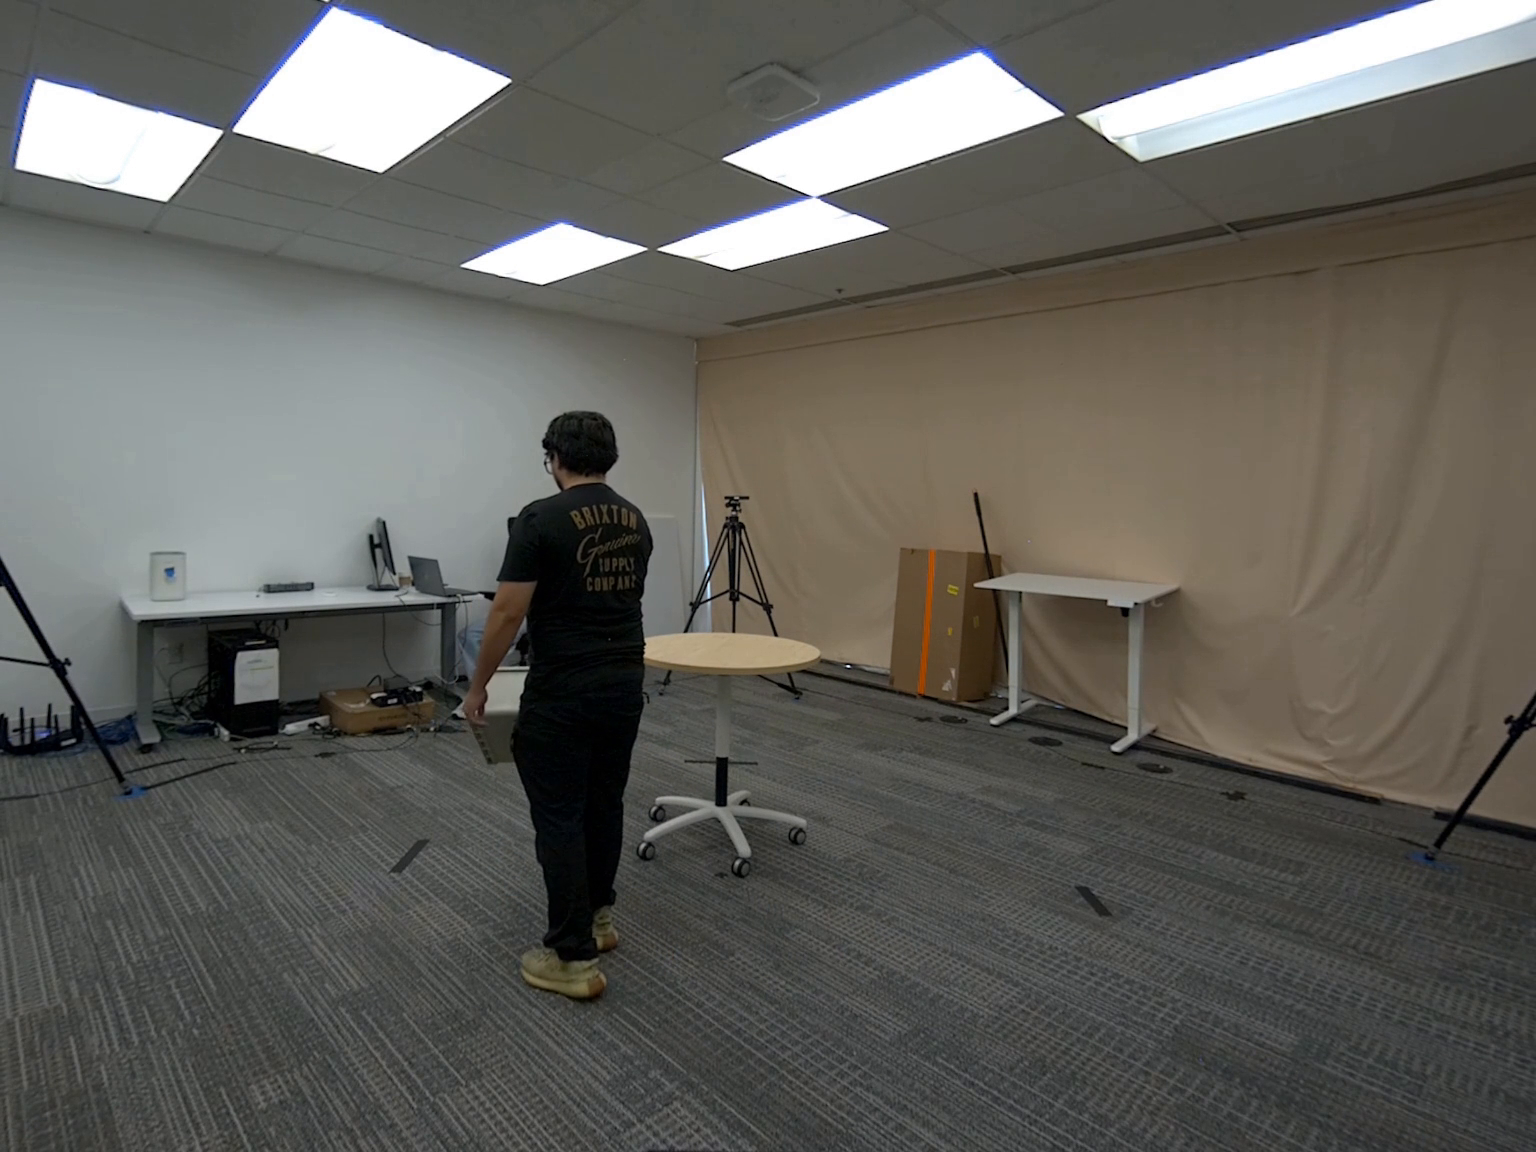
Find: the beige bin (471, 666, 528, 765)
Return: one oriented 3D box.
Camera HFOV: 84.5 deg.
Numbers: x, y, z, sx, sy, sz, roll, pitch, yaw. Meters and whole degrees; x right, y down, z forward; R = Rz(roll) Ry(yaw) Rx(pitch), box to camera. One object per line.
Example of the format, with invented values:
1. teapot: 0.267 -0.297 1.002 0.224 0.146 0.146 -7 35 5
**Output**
1. beige bin: -0.774 0.494 2.888 0.423 0.193 0.369 0 -41 2
